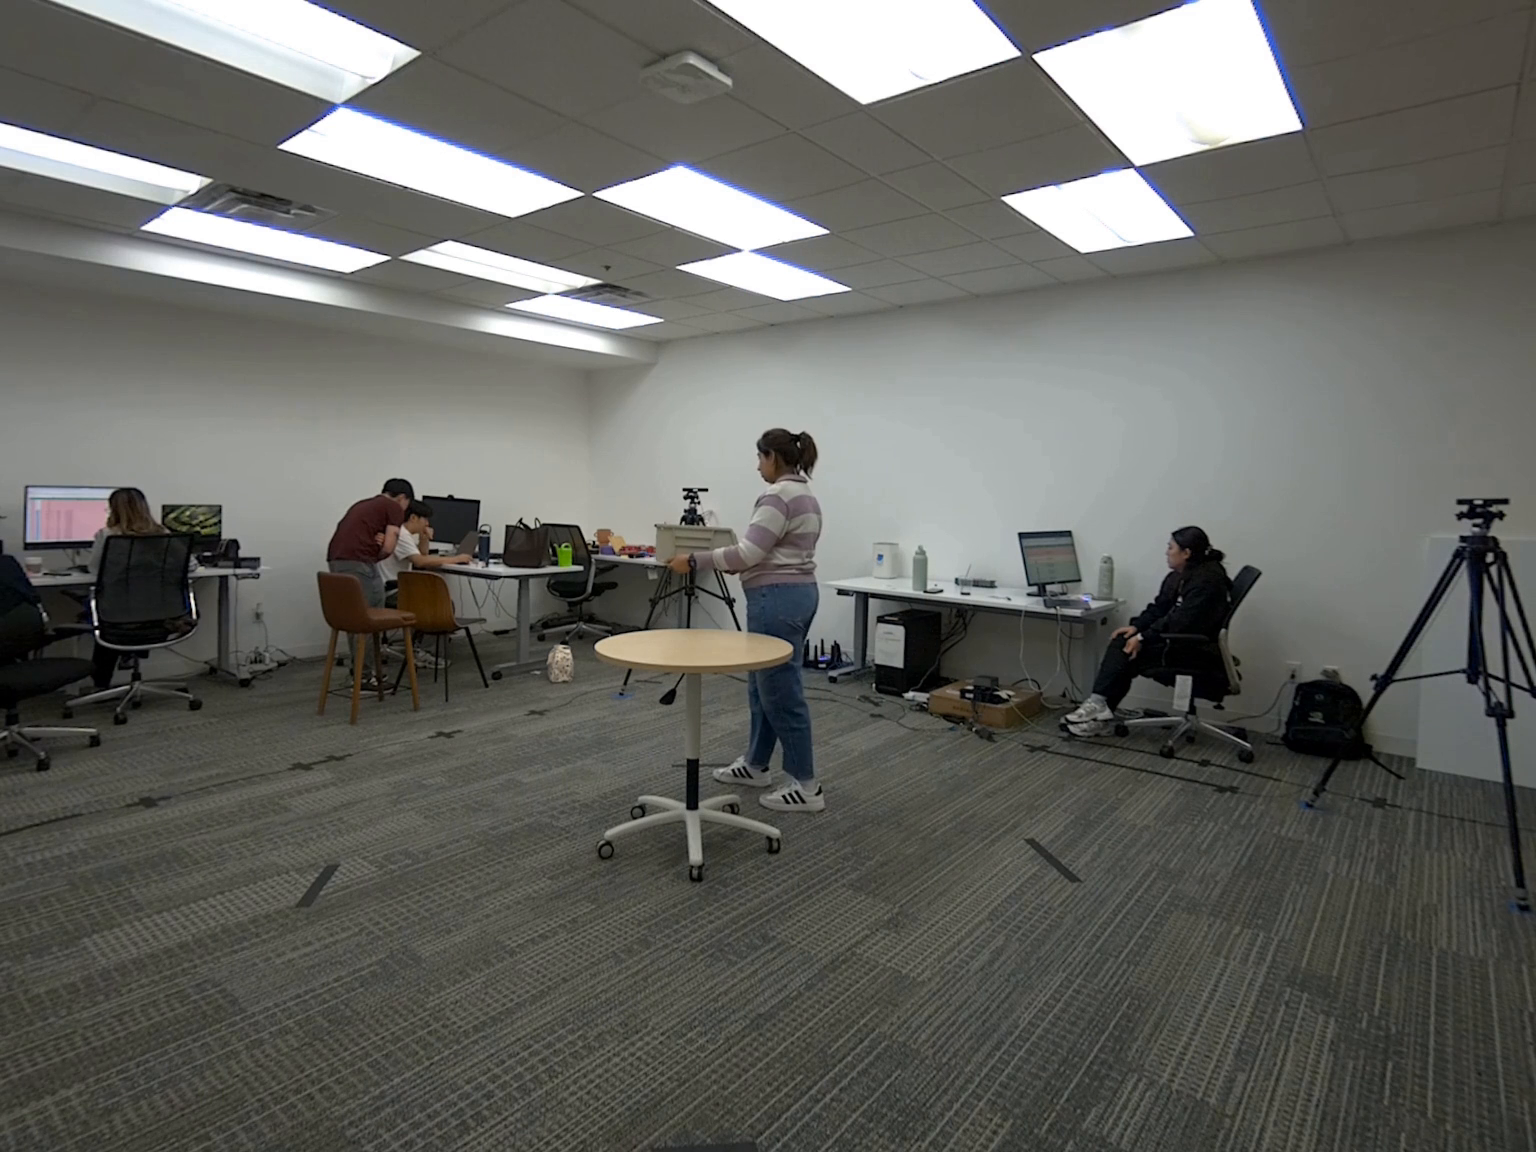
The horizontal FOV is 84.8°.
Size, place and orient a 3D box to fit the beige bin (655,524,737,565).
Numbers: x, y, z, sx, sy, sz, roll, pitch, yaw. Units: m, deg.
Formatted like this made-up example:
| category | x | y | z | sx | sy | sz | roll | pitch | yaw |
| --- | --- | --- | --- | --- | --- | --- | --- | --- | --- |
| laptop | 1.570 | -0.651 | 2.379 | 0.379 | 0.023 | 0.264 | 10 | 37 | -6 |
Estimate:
| category | x | y | z | sx | sy | sz | roll | pitch | yaw |
| --- | --- | --- | --- | --- | --- | --- | --- | --- | --- |
| beige bin | -0.326 | -0.141 | 3.952 | 0.377 | 0.189 | 0.423 | 1 | 2 | -1 |
